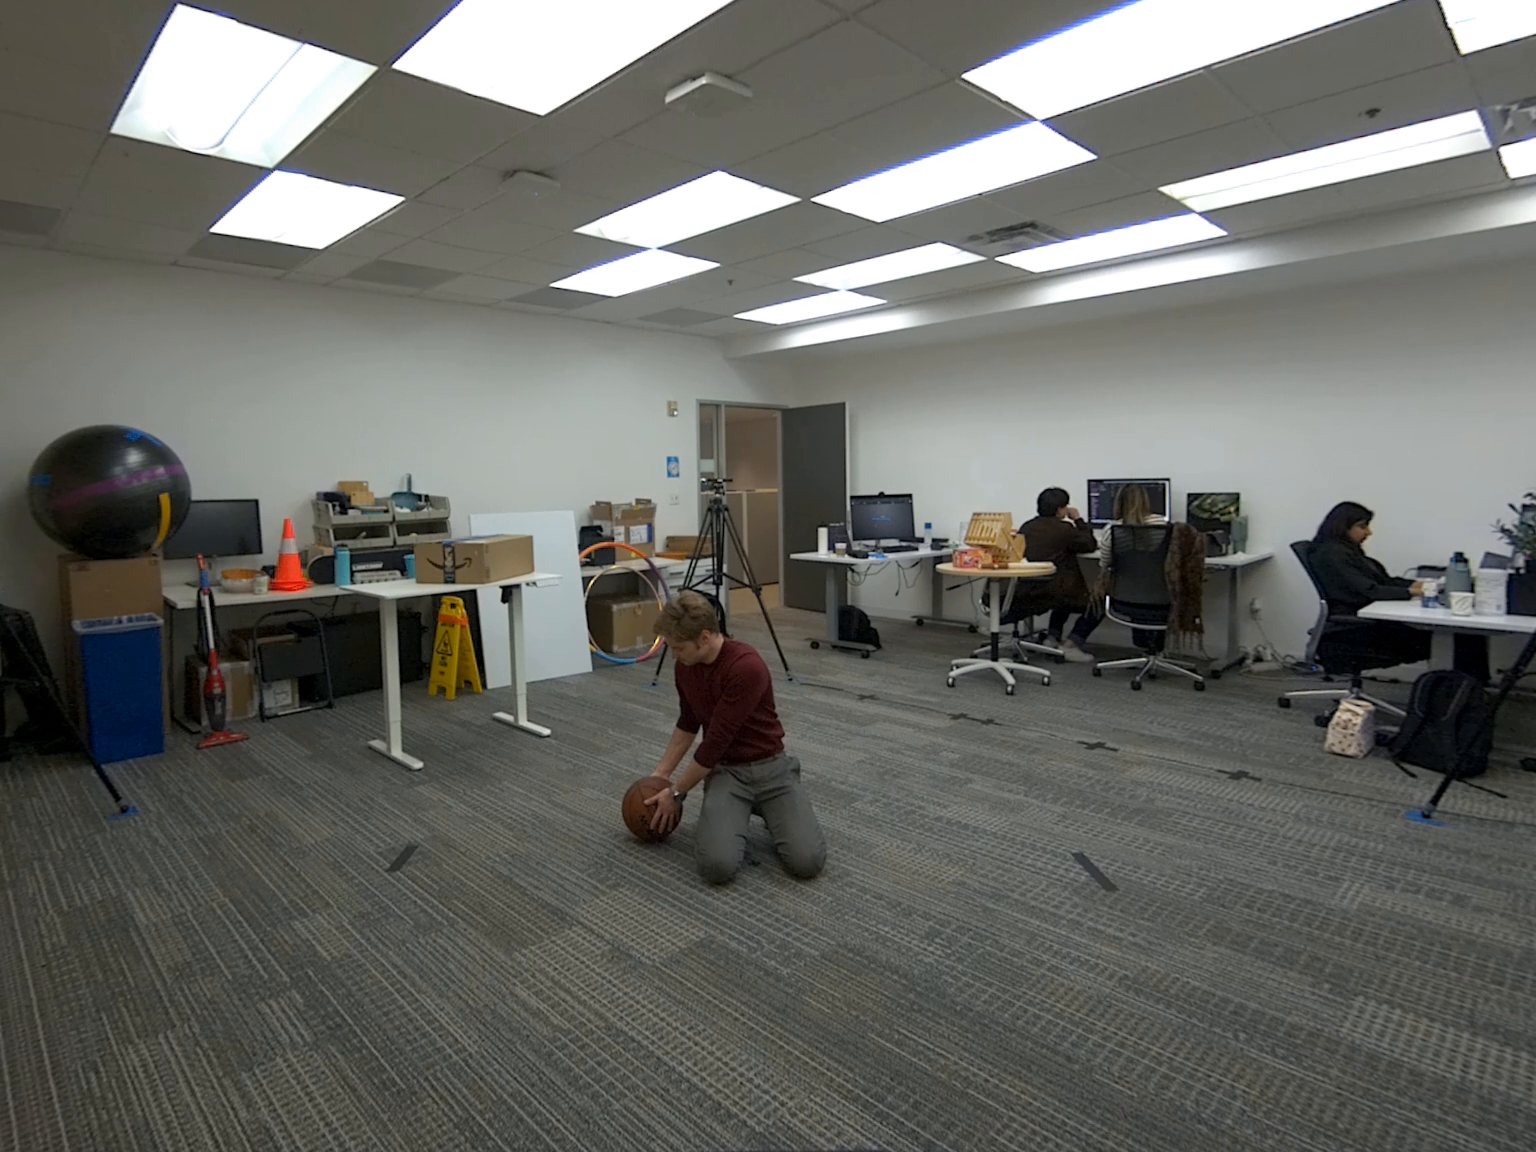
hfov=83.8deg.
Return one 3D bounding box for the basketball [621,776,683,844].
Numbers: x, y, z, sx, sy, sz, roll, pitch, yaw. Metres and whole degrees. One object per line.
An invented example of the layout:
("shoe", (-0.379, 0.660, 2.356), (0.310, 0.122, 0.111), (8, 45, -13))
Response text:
("basketball", (-0.451, 0.906, 3.326), (0.236, 0.235, 0.237), (-1, 5, -2))
